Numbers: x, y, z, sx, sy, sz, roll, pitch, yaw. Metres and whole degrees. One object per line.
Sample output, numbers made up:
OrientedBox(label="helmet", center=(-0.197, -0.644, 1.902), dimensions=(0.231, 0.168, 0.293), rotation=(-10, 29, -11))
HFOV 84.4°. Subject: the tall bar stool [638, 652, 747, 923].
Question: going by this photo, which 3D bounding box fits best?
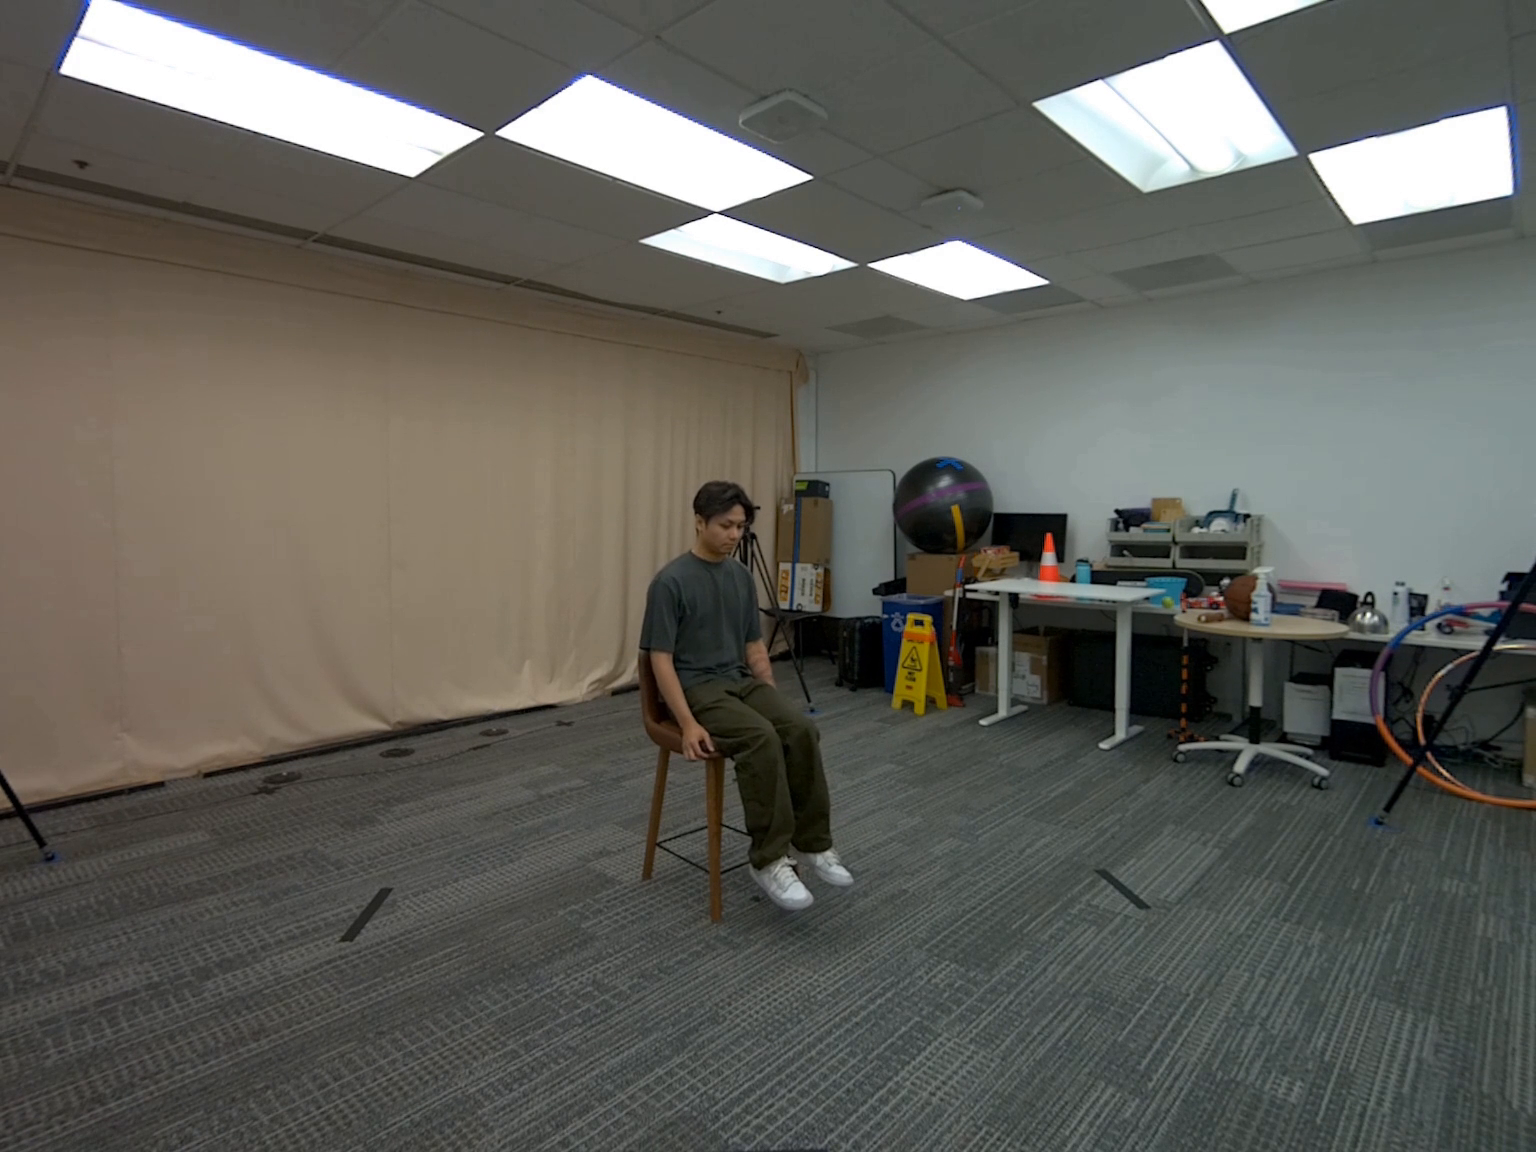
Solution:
OrientedBox(label="tall bar stool", center=(-0.196, 0.699, 3.097), dimensions=(0.442, 0.889, 0.482), rotation=(-3, 2, -43))
